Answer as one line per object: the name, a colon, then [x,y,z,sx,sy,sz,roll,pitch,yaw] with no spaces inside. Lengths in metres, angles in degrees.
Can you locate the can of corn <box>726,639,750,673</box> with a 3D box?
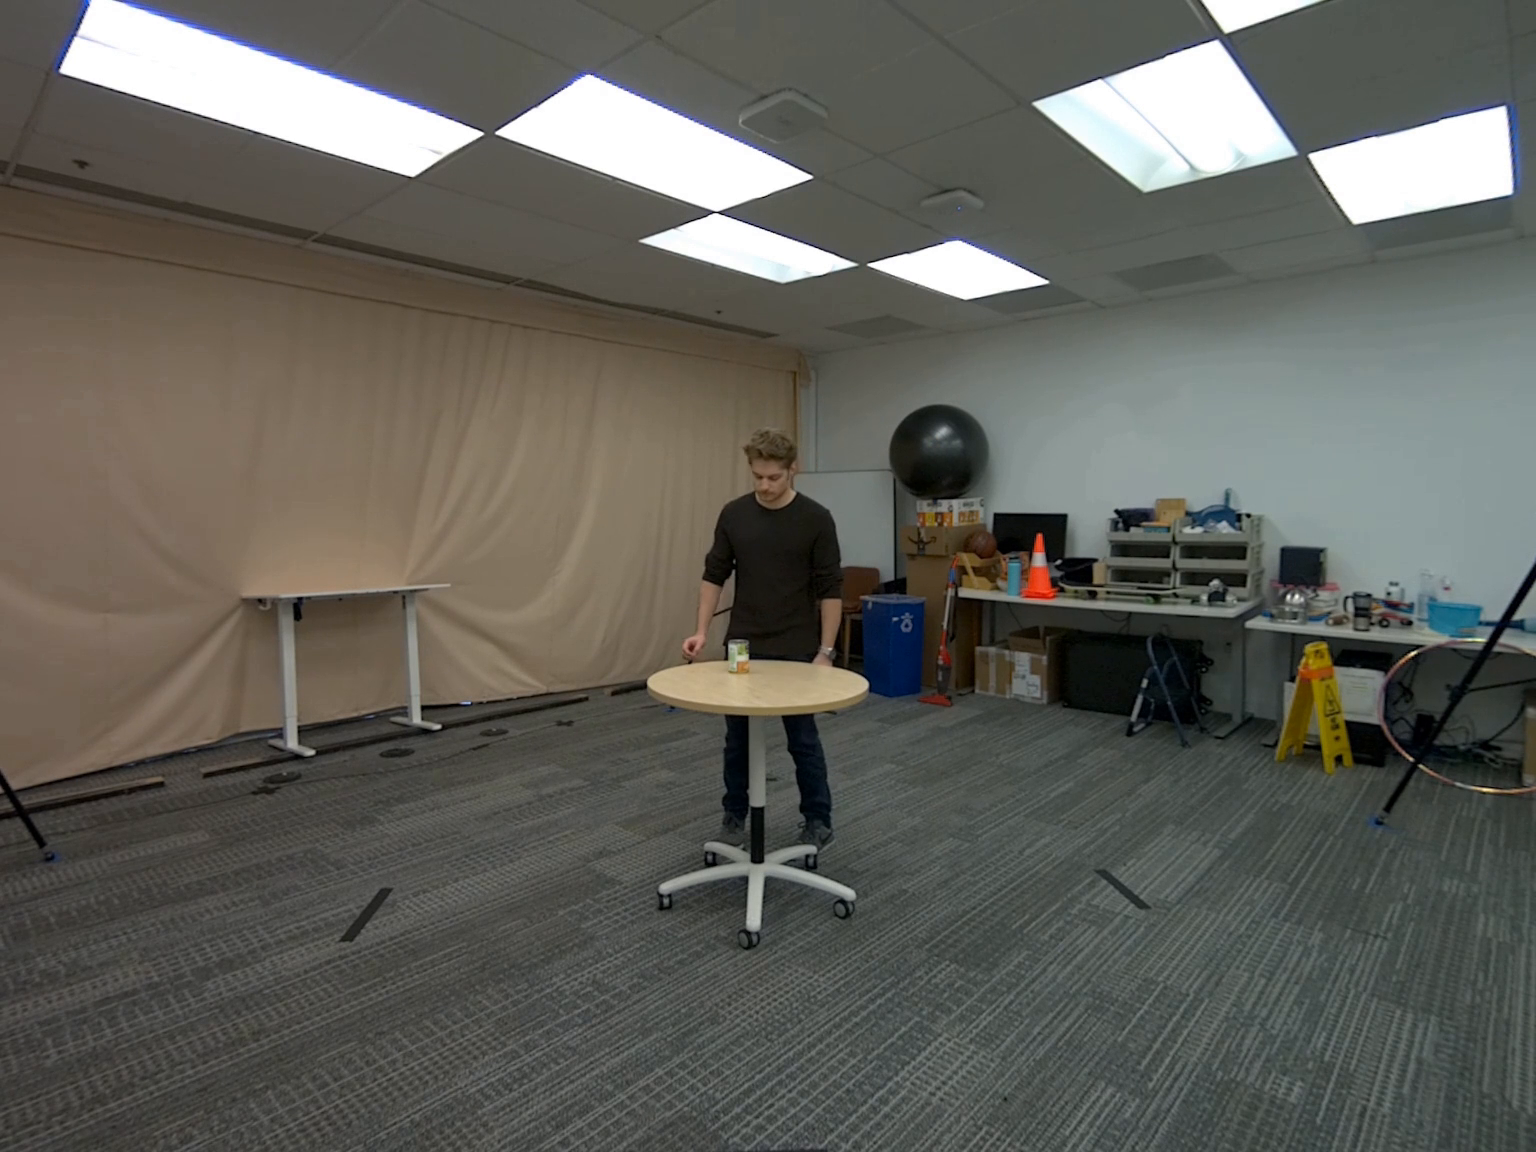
can of corn: [-0.115,0.299,3.076,0.074,0.111,0.074,-3,2,-2]
